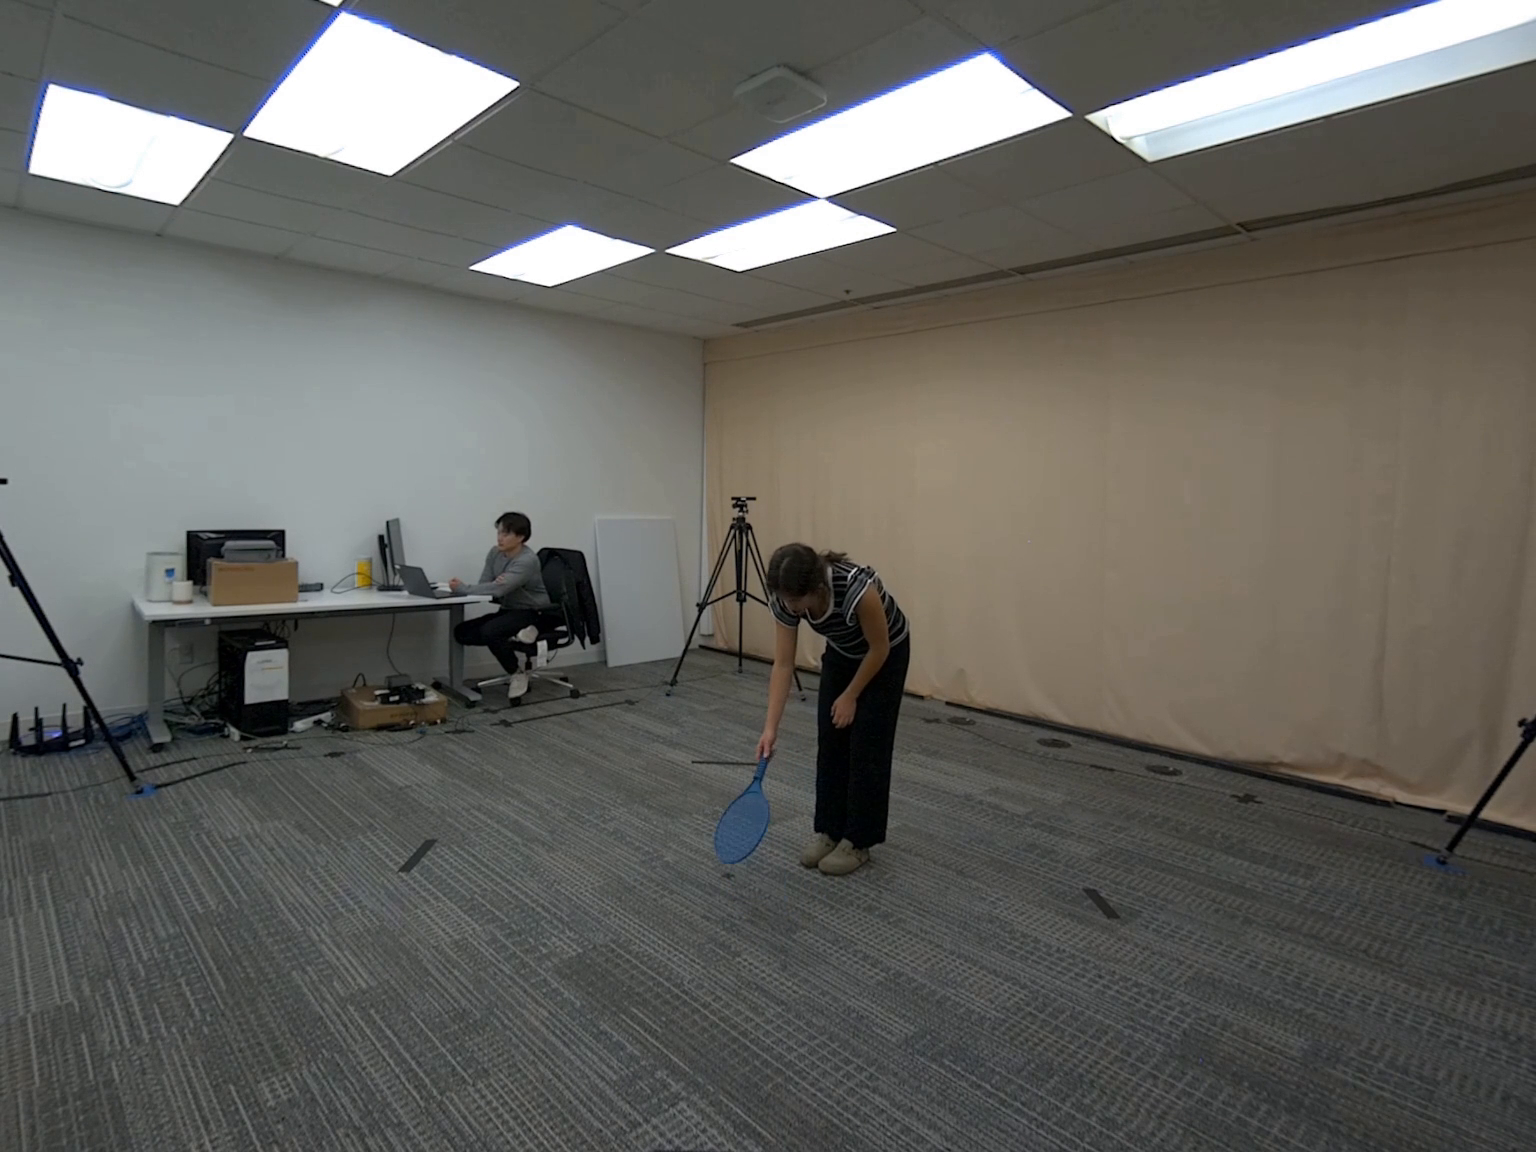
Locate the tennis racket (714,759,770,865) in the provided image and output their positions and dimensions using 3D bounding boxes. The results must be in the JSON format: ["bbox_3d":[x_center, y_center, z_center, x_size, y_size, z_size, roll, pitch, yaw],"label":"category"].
[{"bbox_3d":[-0.070,0.794,2.903,0.217,0.437,0.031,-14,-49,37],"label":"tennis racket"}]
